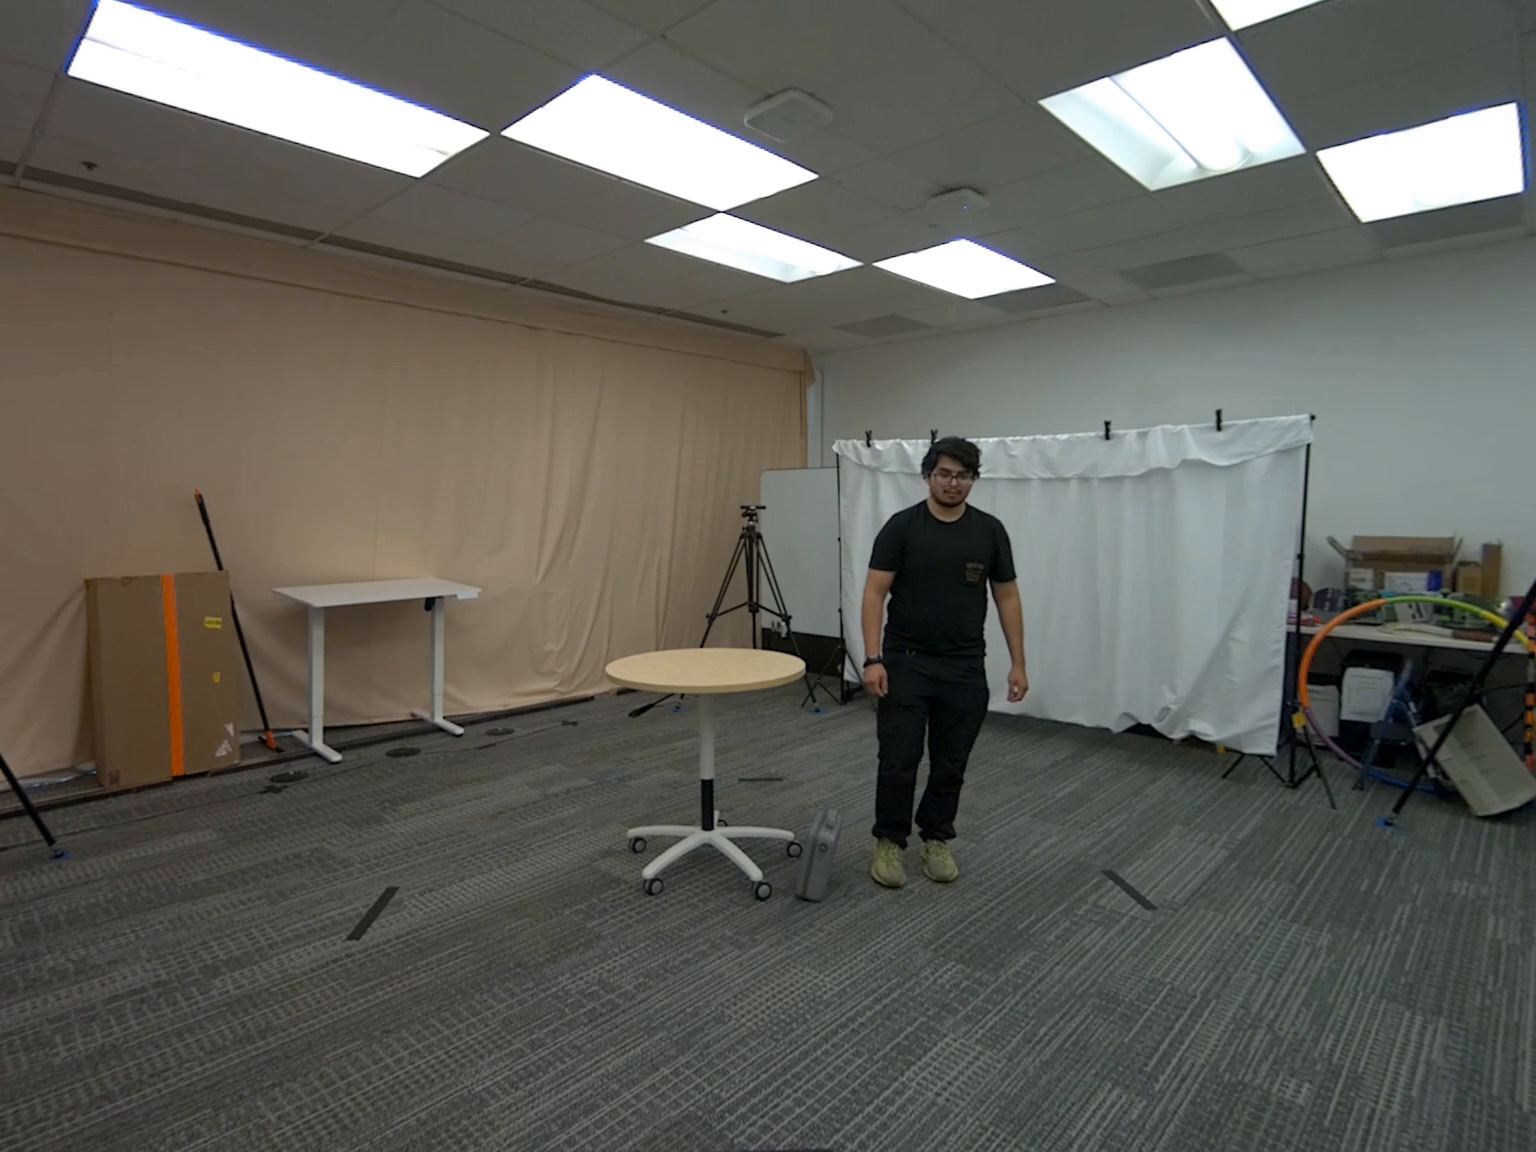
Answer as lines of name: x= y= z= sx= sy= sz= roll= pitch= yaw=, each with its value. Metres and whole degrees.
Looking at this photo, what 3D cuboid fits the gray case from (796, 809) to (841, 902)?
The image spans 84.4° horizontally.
gray case: x=0.190 y=1.002 z=3.056 sx=0.106 sy=0.260 sz=0.253 roll=13 pitch=8 yaw=12
